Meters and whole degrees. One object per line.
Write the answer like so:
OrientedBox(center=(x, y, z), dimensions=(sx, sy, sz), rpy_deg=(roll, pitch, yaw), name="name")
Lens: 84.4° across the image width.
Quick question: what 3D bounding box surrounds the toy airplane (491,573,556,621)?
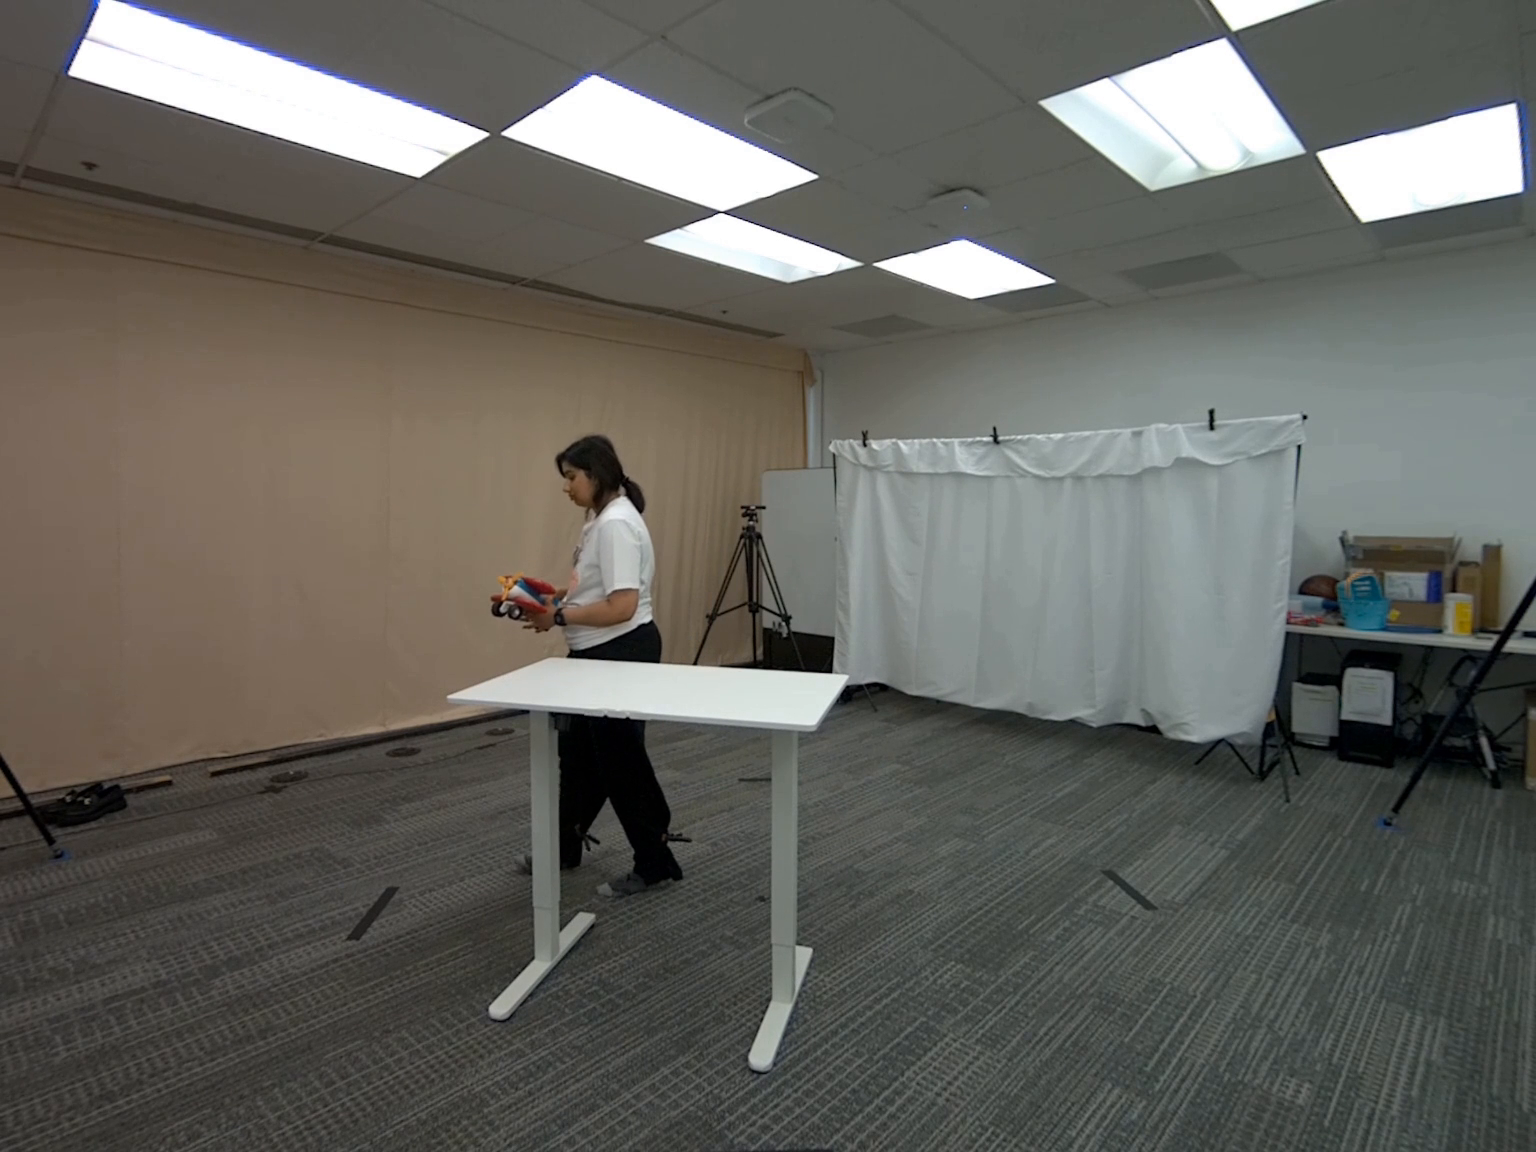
OrientedBox(center=(-0.876, 0.099, 3.004), dimensions=(0.253, 0.157, 0.256), rpy_deg=(12, -14, 6), name="toy airplane")
